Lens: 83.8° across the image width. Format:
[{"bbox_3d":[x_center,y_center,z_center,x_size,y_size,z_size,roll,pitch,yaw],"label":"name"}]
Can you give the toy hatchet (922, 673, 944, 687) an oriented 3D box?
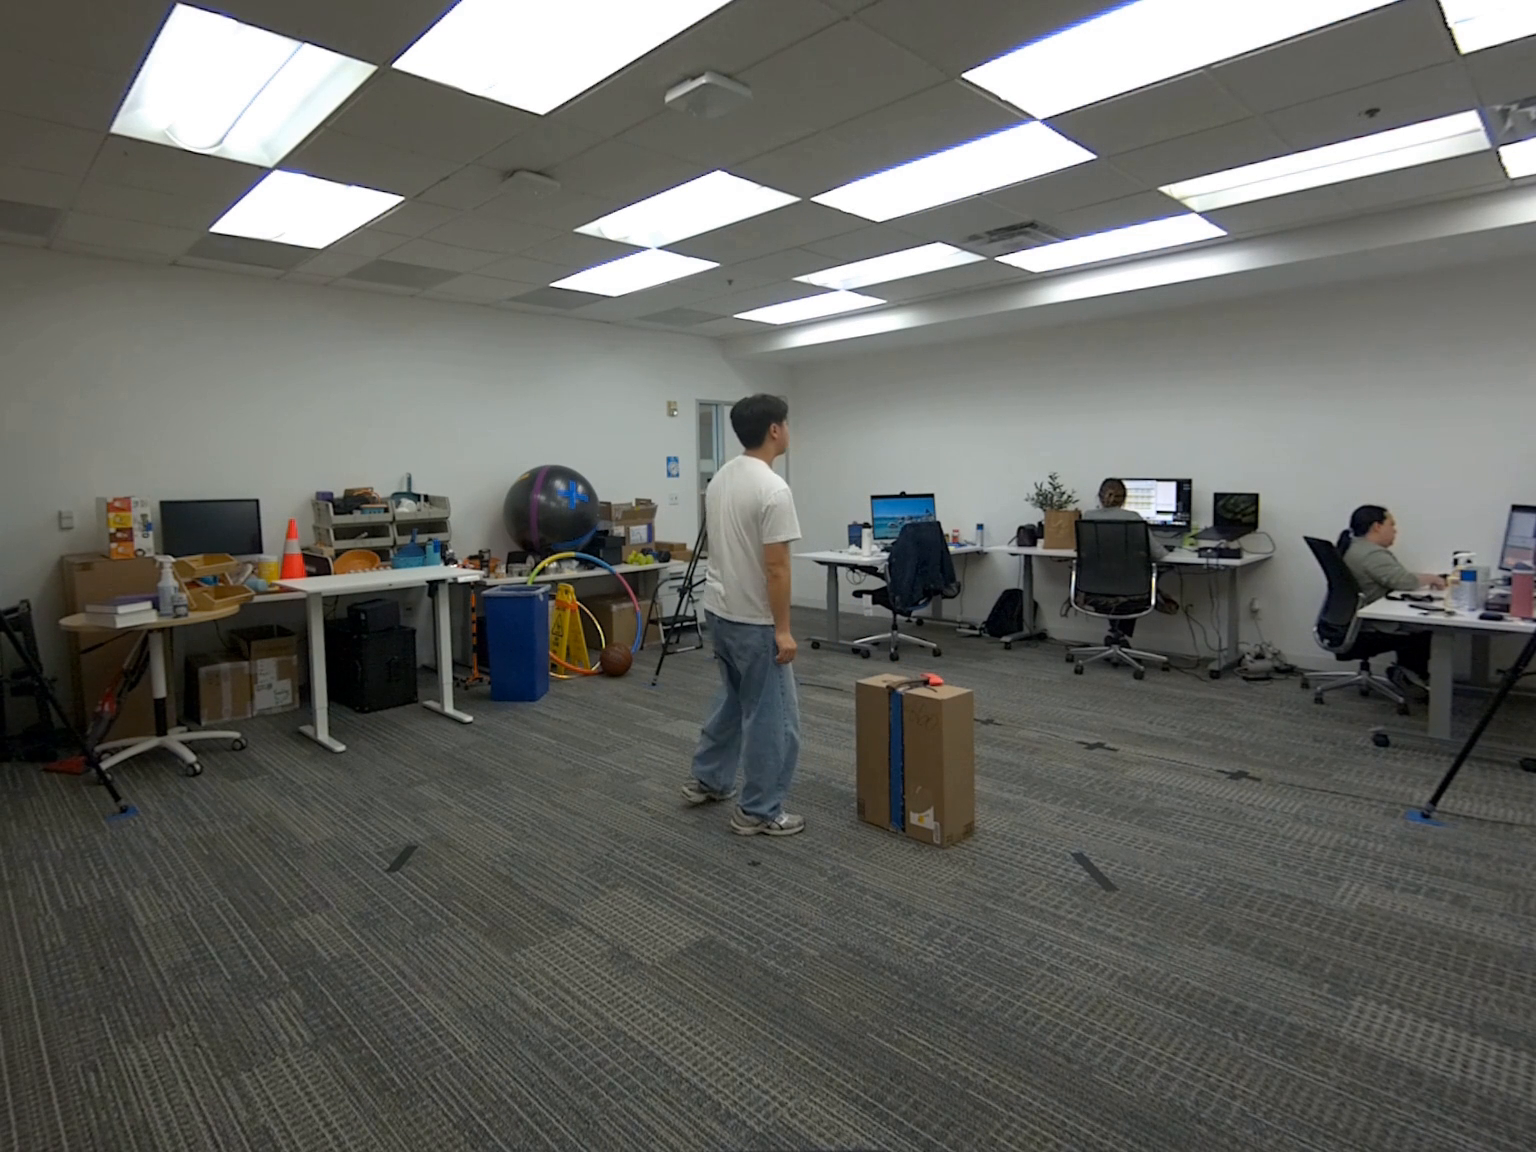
[{"bbox_3d":[0.587,0.423,3.372,0.135,0.029,0.263,11,13,42],"label":"toy hatchet"}]
